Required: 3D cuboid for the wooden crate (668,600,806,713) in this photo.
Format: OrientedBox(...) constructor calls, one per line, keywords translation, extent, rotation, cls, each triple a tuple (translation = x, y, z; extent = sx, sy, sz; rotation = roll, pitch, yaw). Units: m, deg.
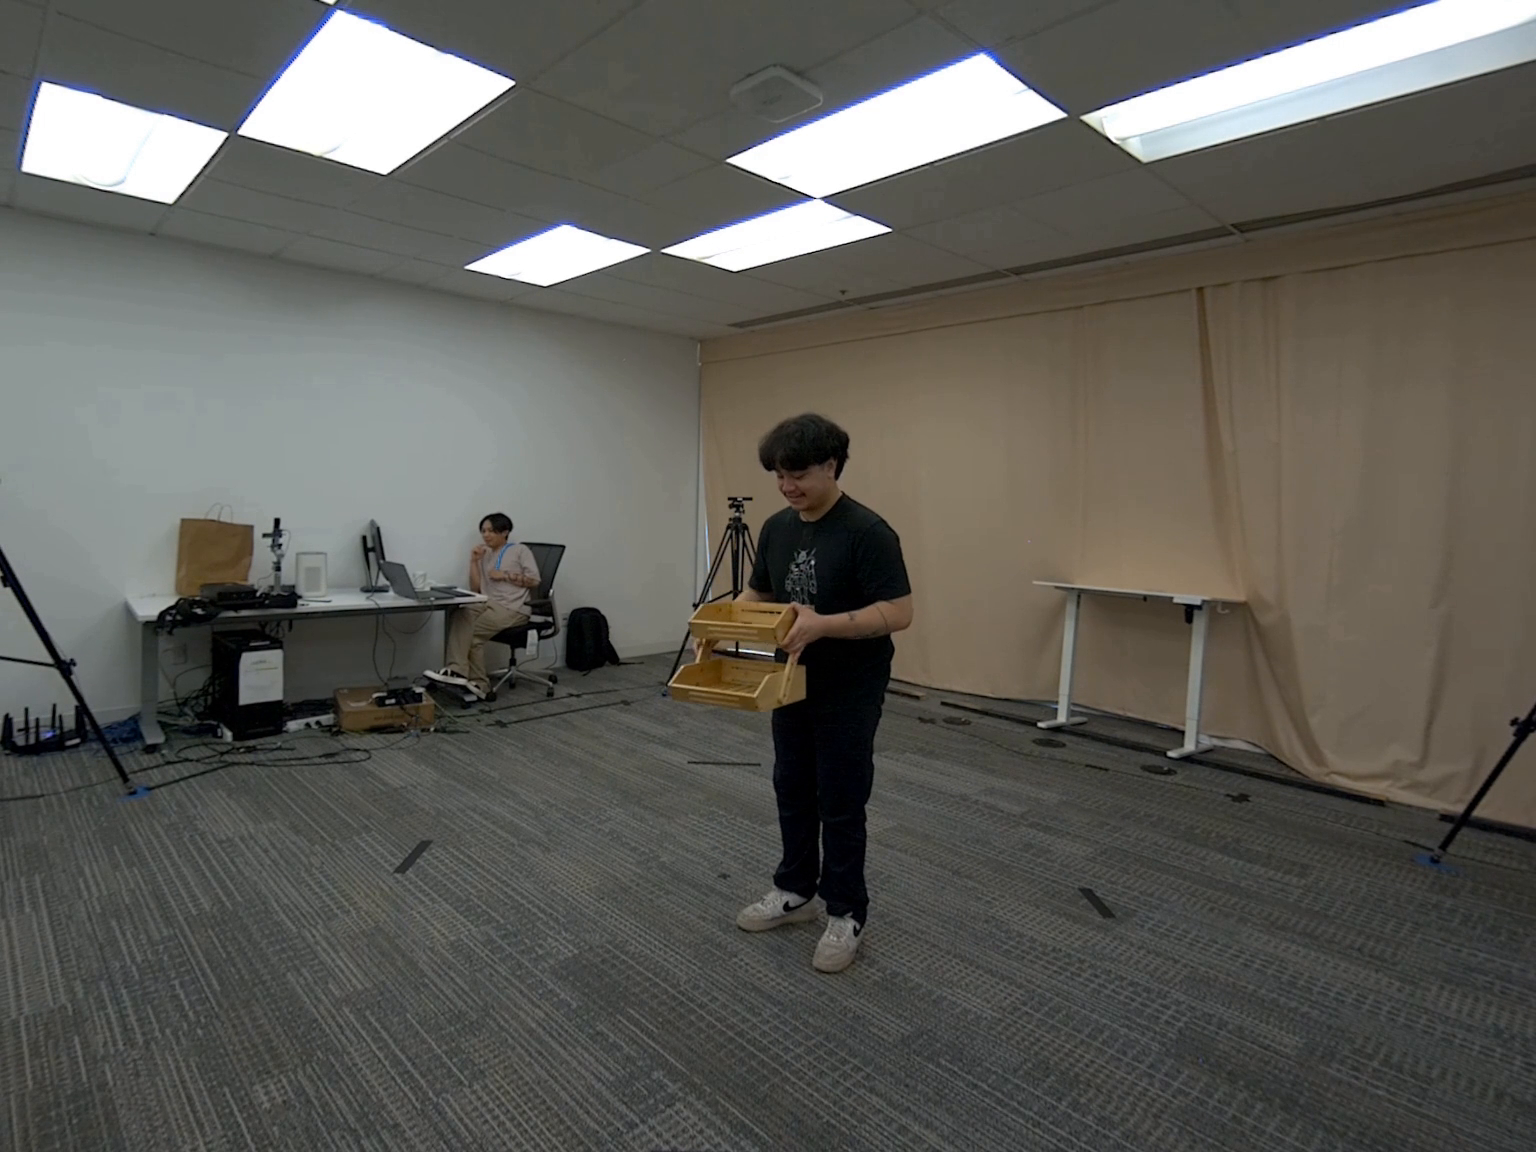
OrientedBox(translation=(-0.080, 0.217, 2.386), extent=(0.332, 0.273, 0.295), rotation=(2, 2, 35), cls="wooden crate")
